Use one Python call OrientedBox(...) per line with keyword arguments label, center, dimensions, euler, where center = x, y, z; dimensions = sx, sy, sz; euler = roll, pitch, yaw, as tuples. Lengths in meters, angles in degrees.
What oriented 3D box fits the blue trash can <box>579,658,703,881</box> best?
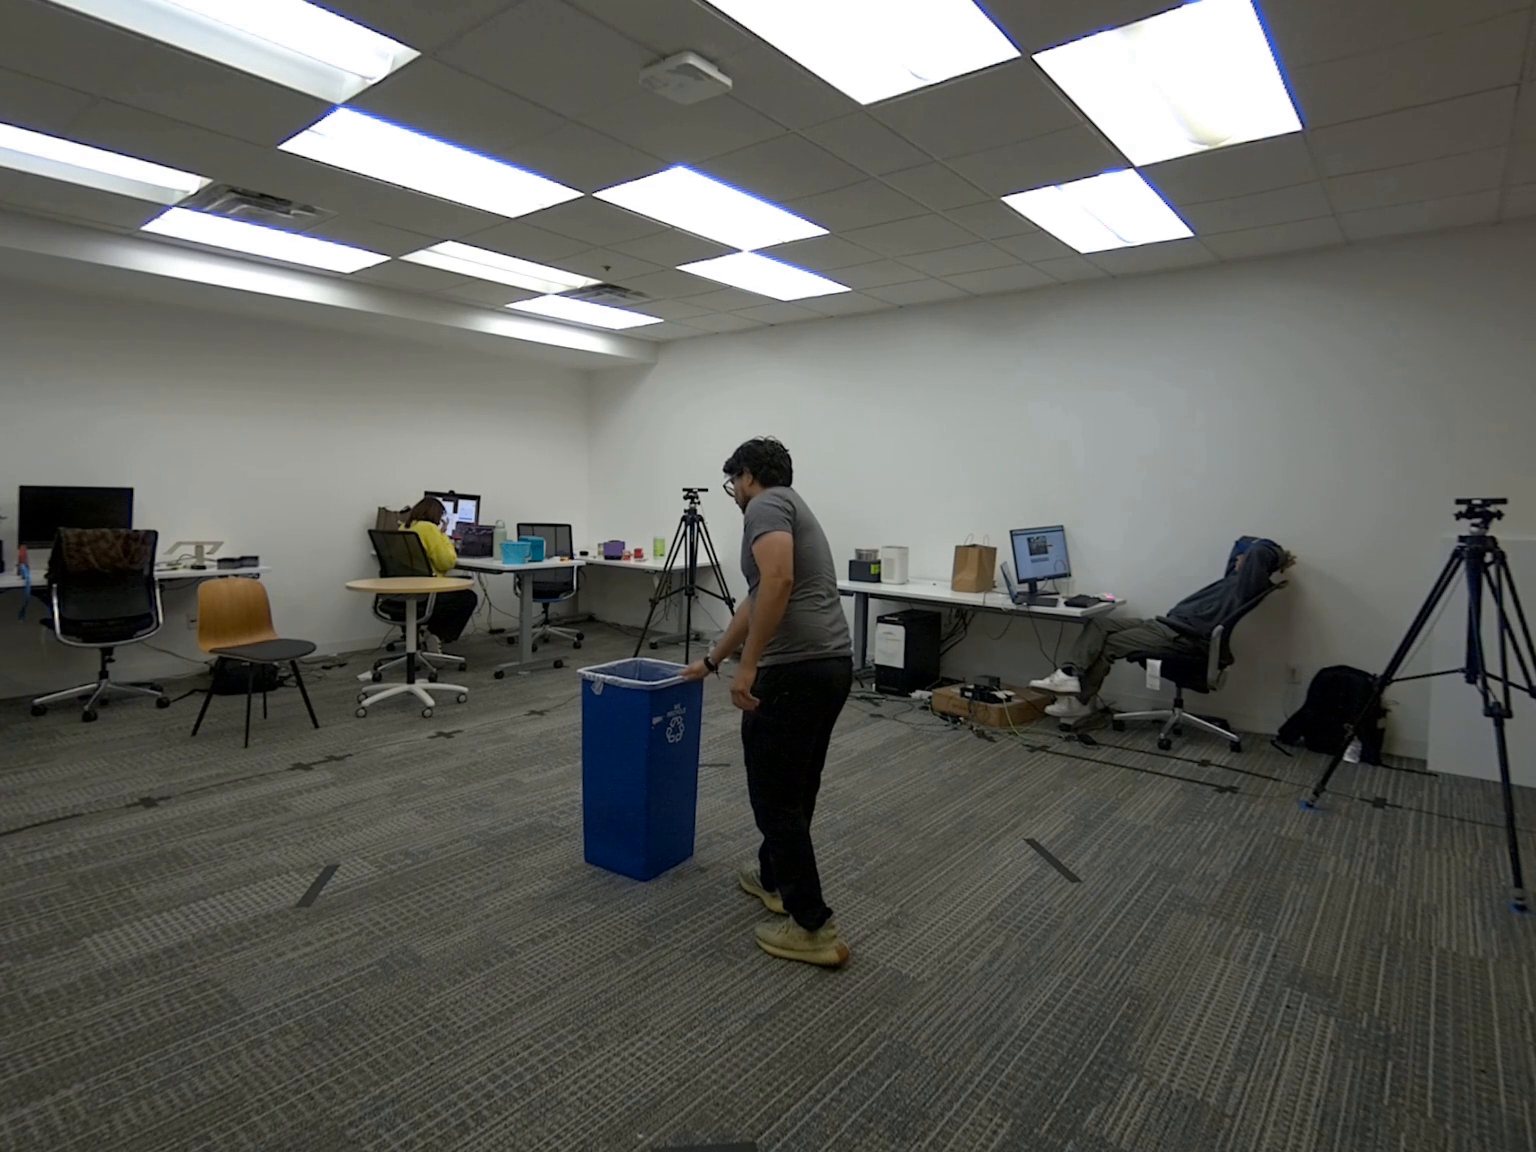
OrientedBox(label="blue trash can", center=(-0.483, 0.699, 3.191), dimensions=(0.390, 0.712, 0.364), euler=(3, 4, 33))
